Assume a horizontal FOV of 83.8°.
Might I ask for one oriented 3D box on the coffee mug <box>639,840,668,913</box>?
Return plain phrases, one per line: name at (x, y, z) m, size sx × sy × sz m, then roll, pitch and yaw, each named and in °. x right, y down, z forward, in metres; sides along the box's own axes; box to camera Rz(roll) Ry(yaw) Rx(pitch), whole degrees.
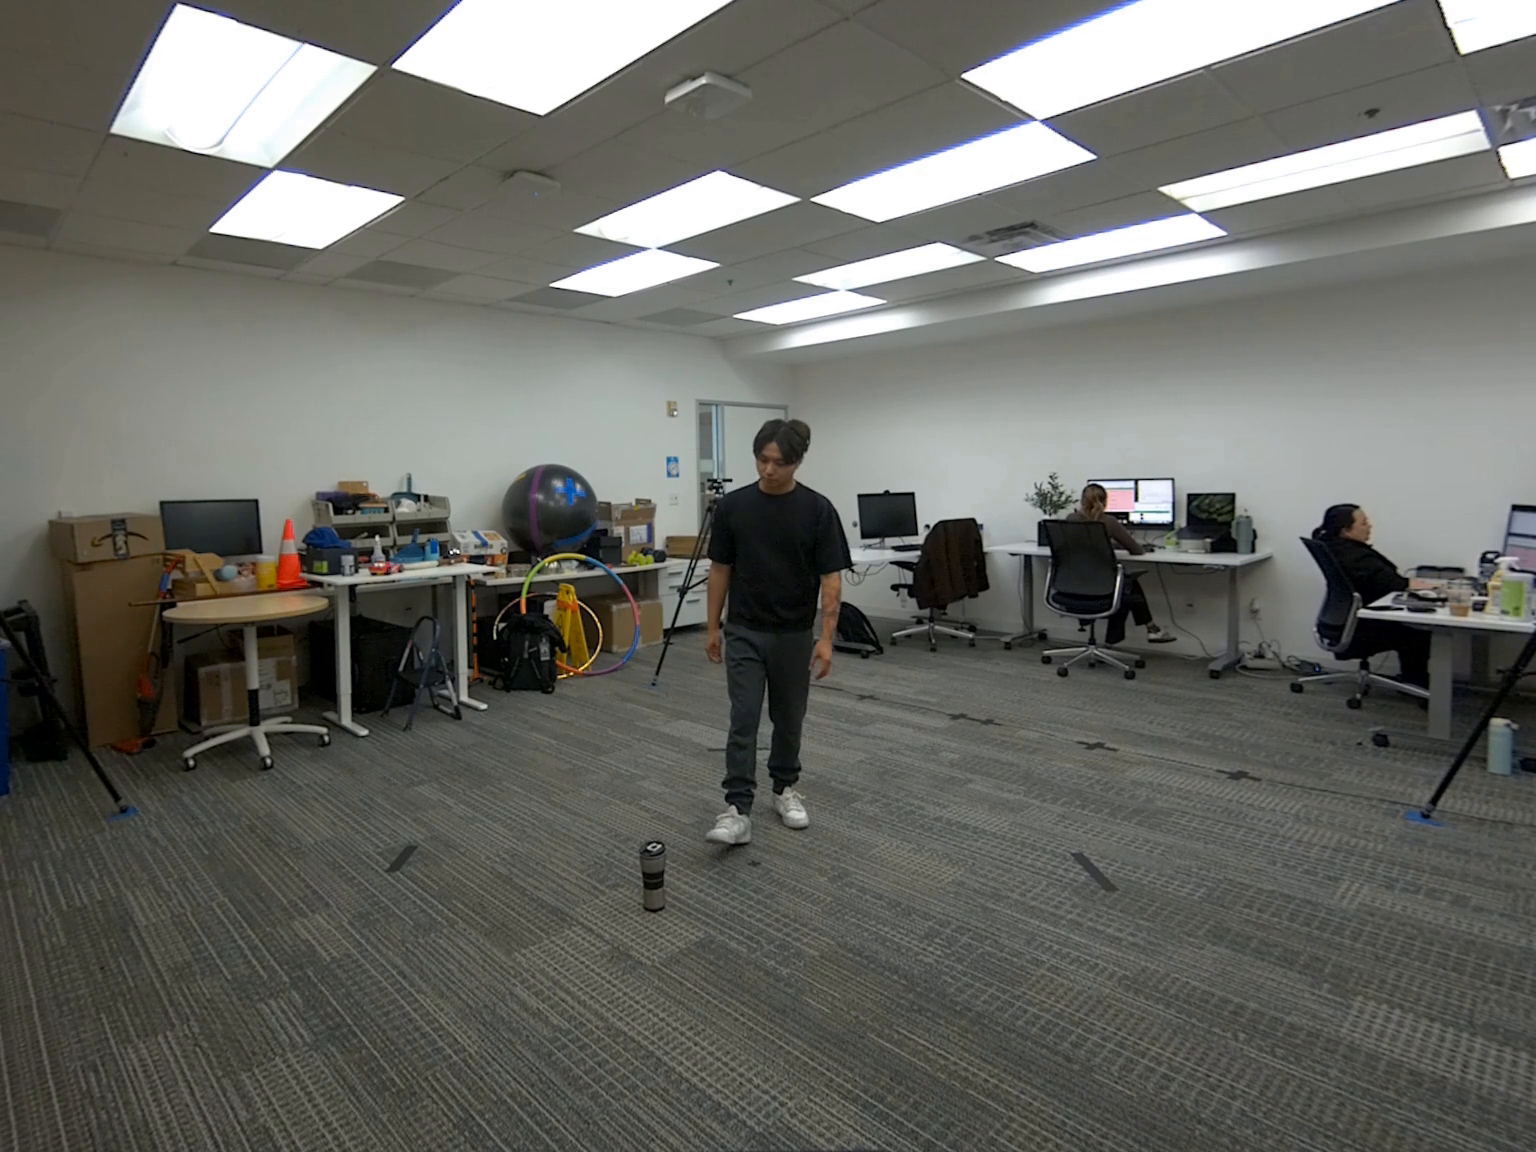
coffee mug at (-0.355, 0.984, 2.805) m, size 0.119 × 0.202 × 0.090 m, roll -12°, pitch 7°, yaw -40°
